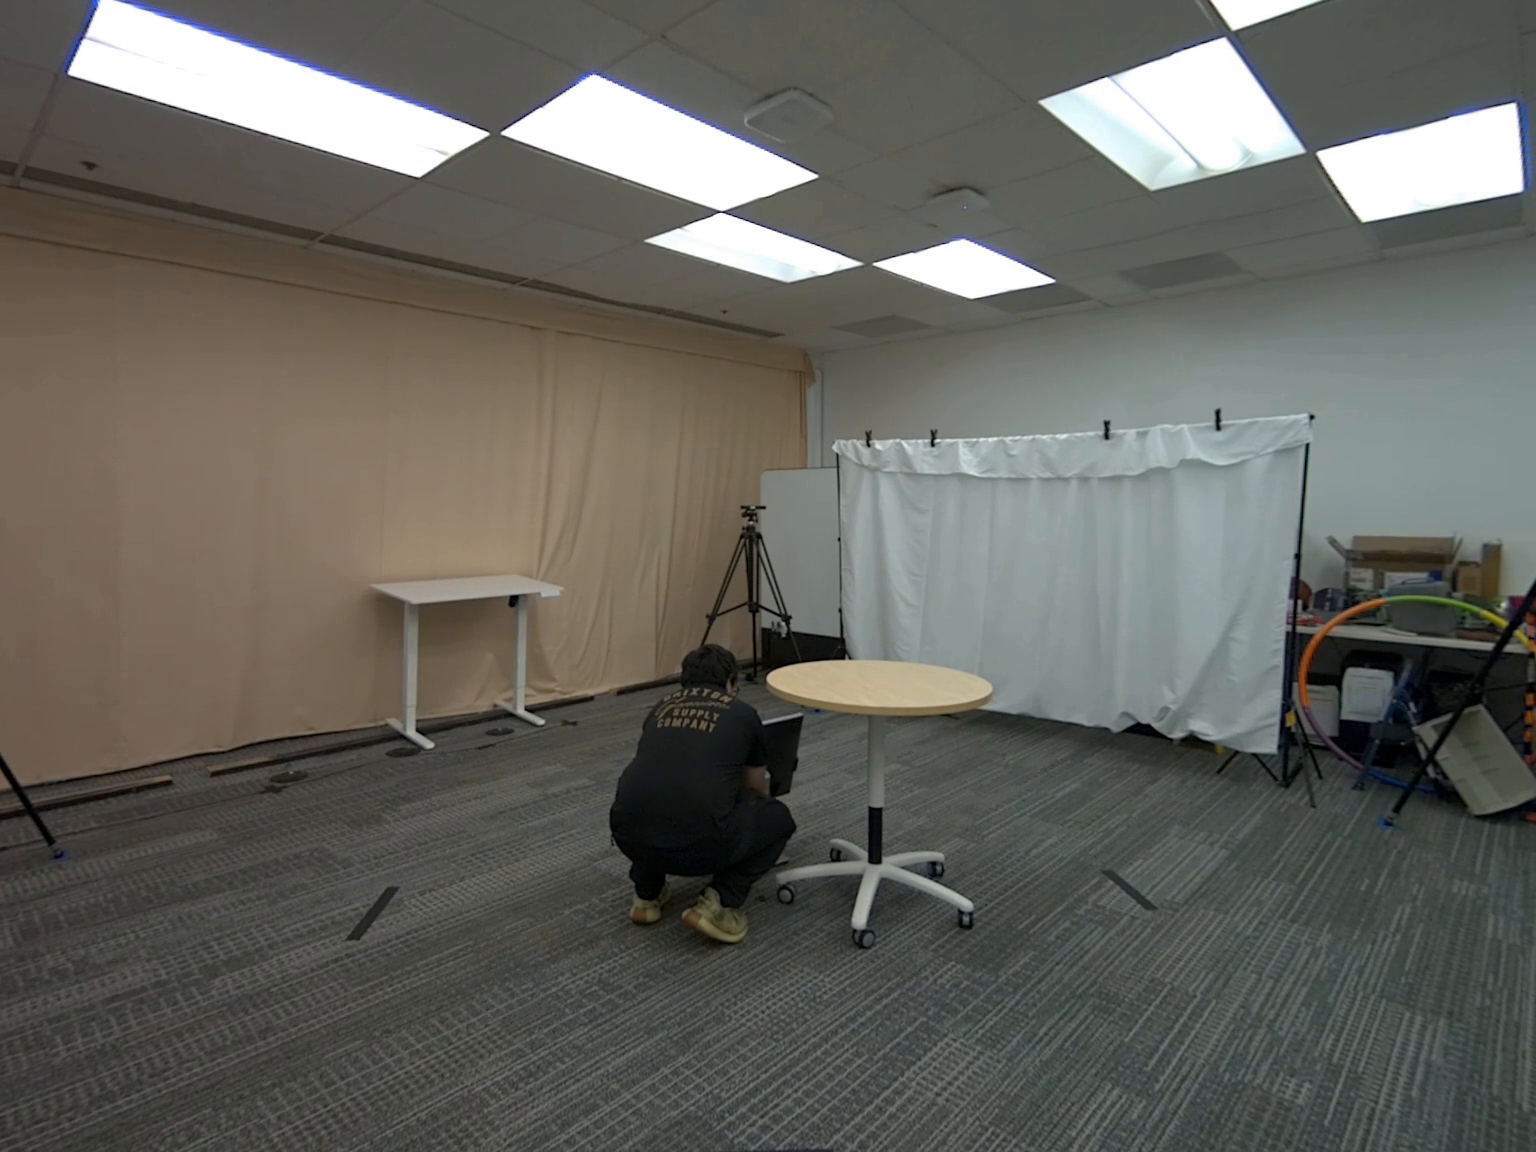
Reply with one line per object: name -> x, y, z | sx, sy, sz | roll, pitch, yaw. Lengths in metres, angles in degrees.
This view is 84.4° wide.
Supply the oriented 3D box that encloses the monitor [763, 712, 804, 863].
monitor -> -0.054, 0.852, 3.264 | 0.548, 0.551, 0.217 | -3, 12, -39
